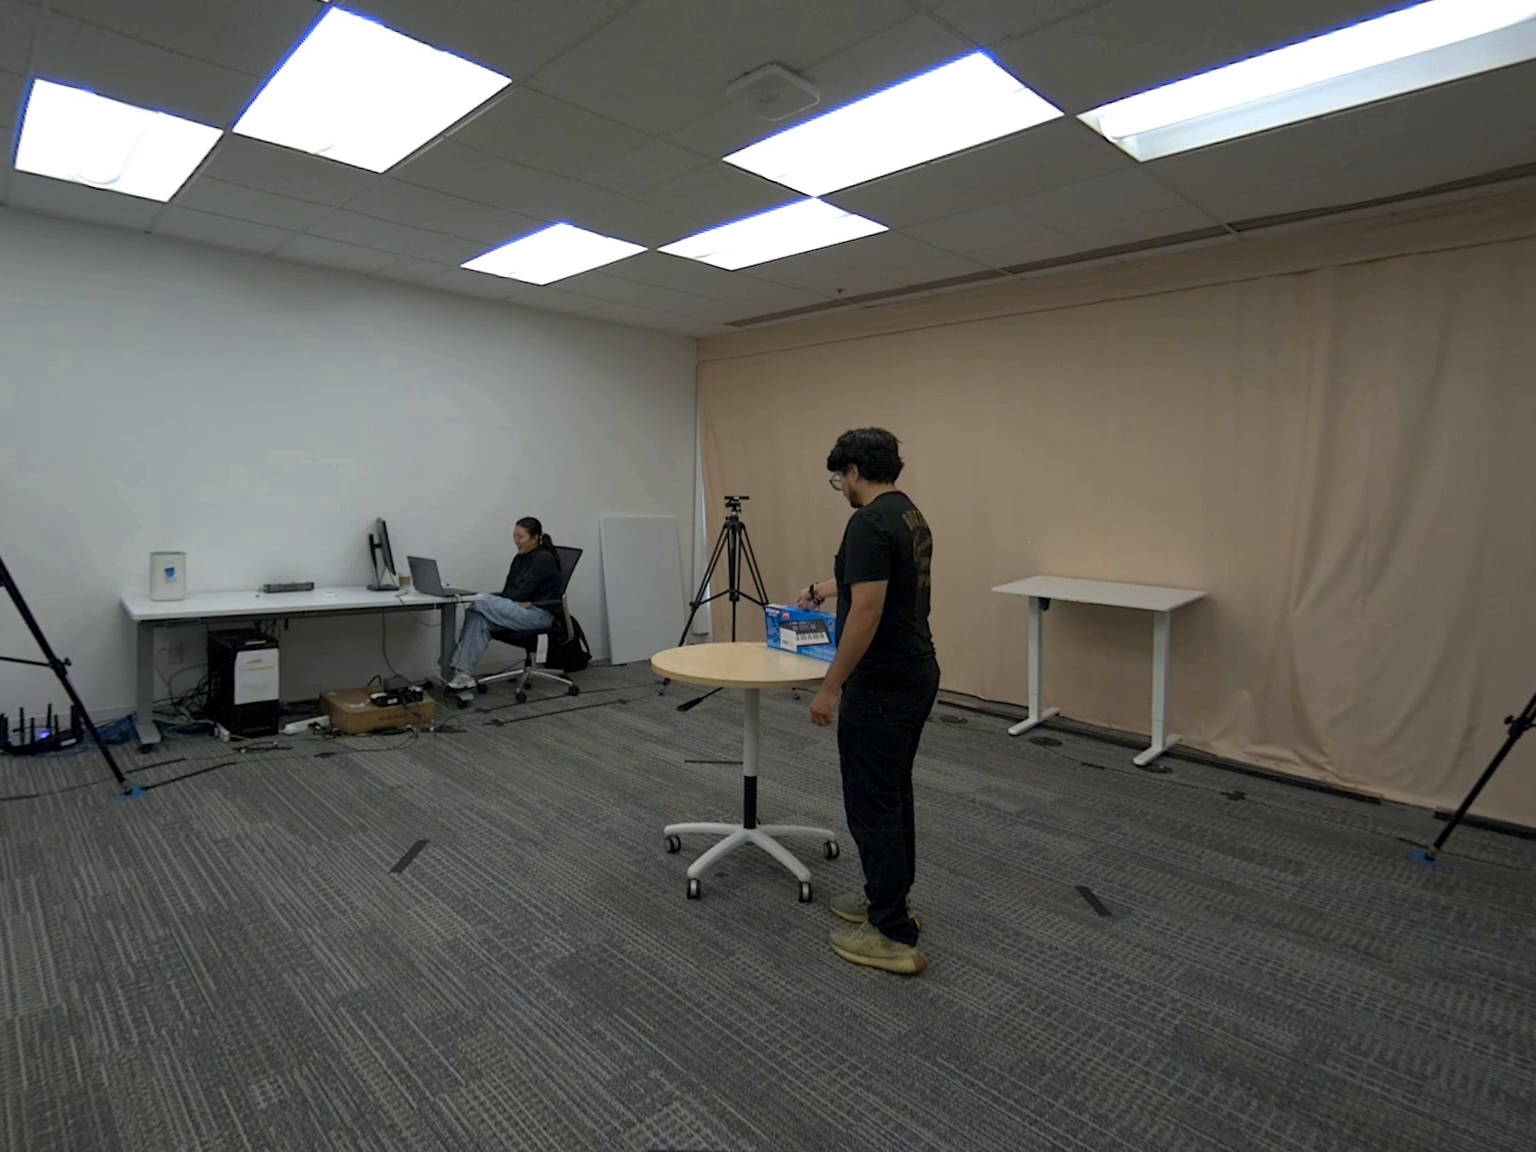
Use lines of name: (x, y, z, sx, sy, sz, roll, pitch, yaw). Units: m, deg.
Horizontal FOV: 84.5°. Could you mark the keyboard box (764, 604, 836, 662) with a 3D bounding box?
keyboard box: (0.139, 0.221, 3.291, 0.058, 0.175, 0.447, -8, 9, -35)
